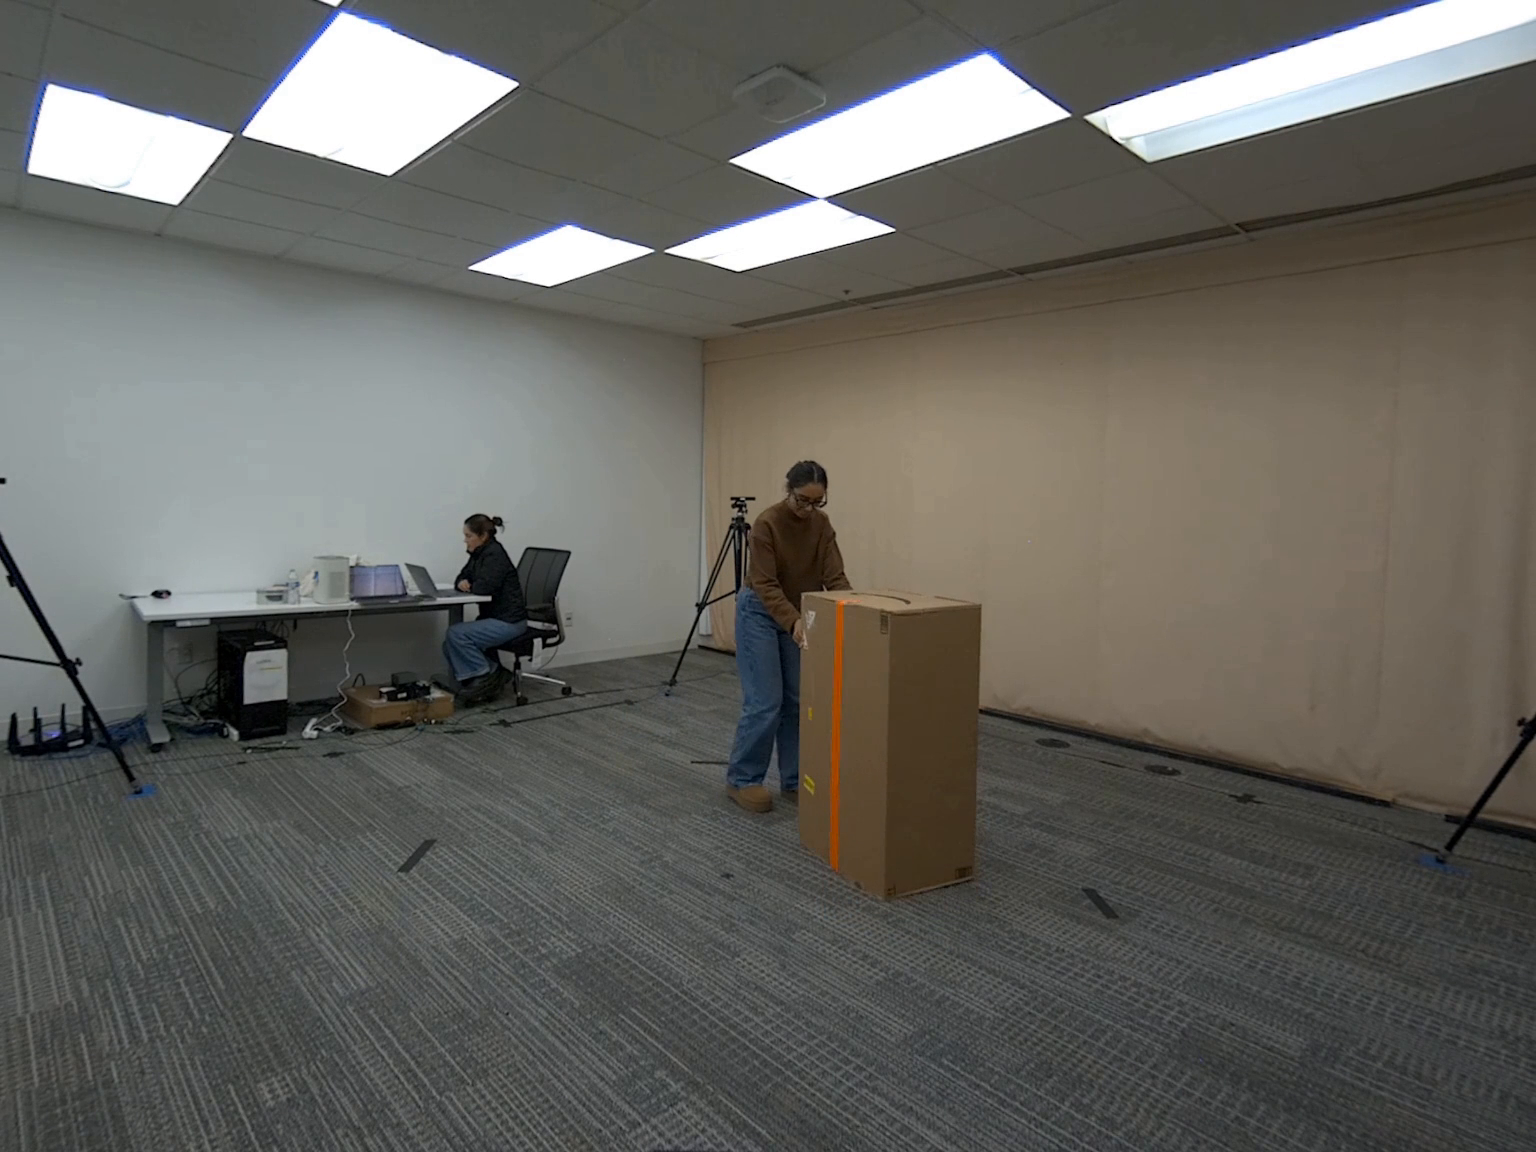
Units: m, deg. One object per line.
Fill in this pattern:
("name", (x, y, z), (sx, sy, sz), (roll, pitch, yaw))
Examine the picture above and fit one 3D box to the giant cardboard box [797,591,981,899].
("giant cardboard box", (0.442, 0.595, 3.241), (0.418, 1.023, 0.590), (-1, 4, -28))
